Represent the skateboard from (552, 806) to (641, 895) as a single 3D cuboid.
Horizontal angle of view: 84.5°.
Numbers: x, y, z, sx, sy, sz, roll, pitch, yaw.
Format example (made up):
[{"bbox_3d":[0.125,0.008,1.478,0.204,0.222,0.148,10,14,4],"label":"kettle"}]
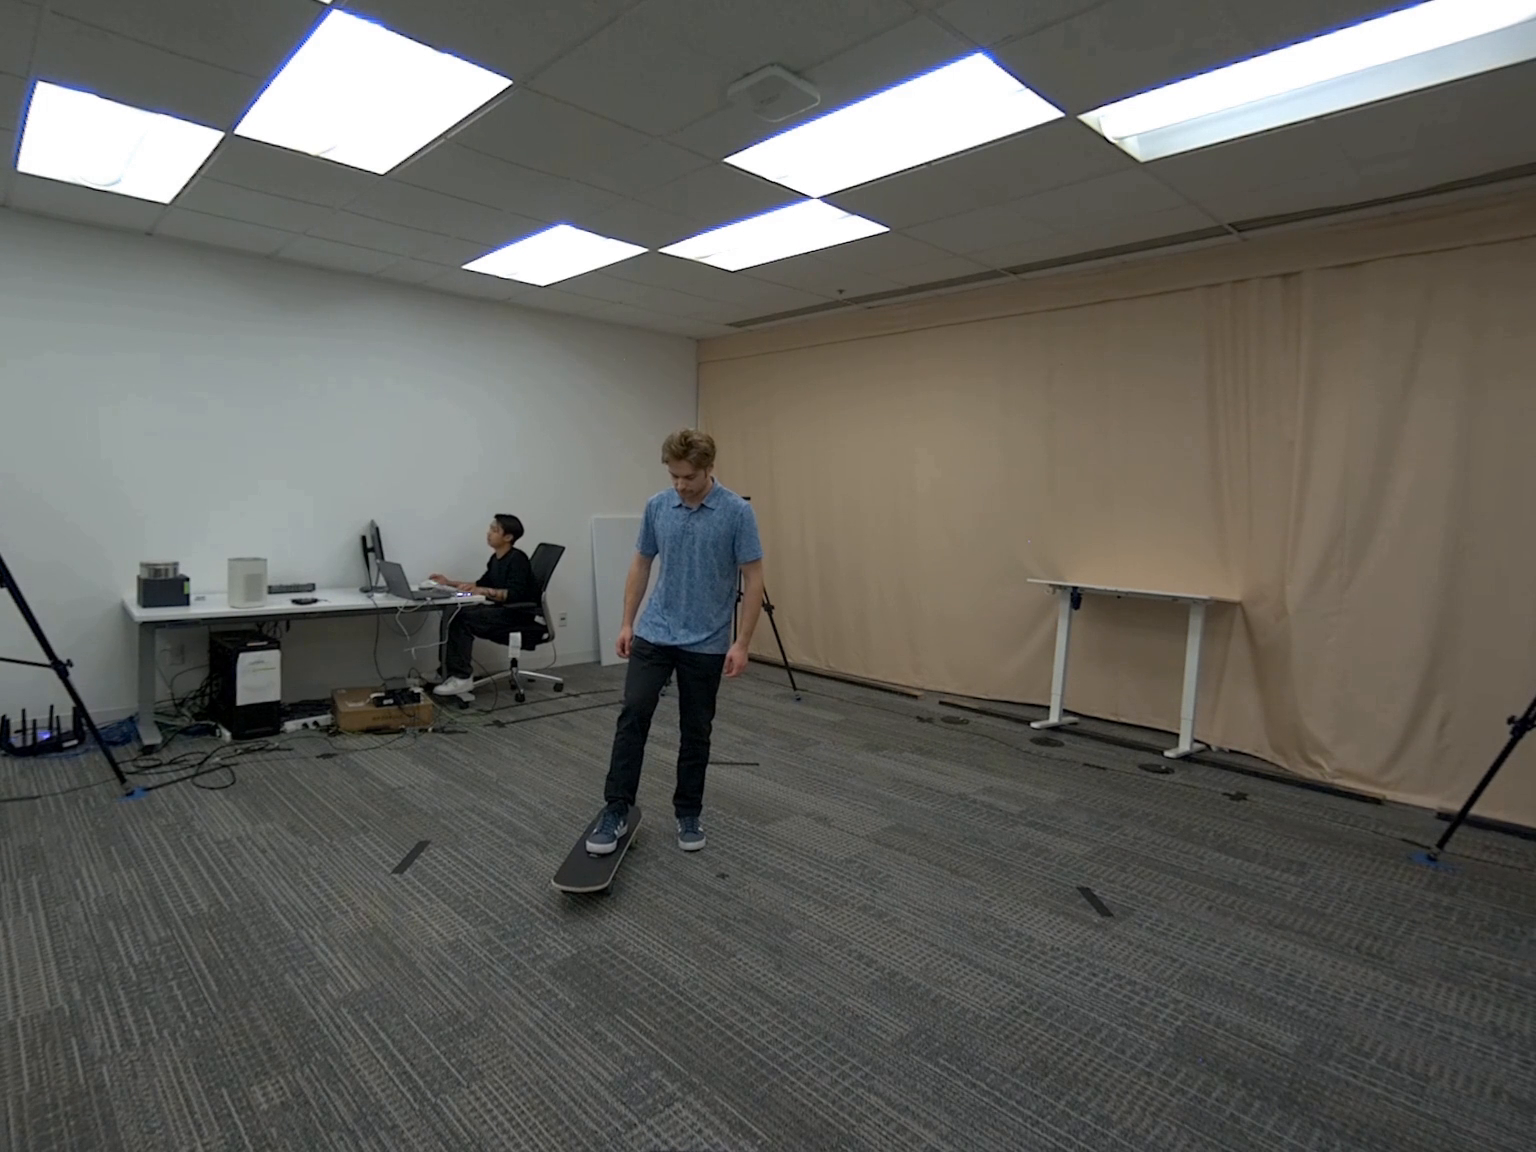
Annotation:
[{"bbox_3d":[-0.624,1.033,3.149,0.194,0.110,0.785,3,5,3],"label":"skateboard"}]
